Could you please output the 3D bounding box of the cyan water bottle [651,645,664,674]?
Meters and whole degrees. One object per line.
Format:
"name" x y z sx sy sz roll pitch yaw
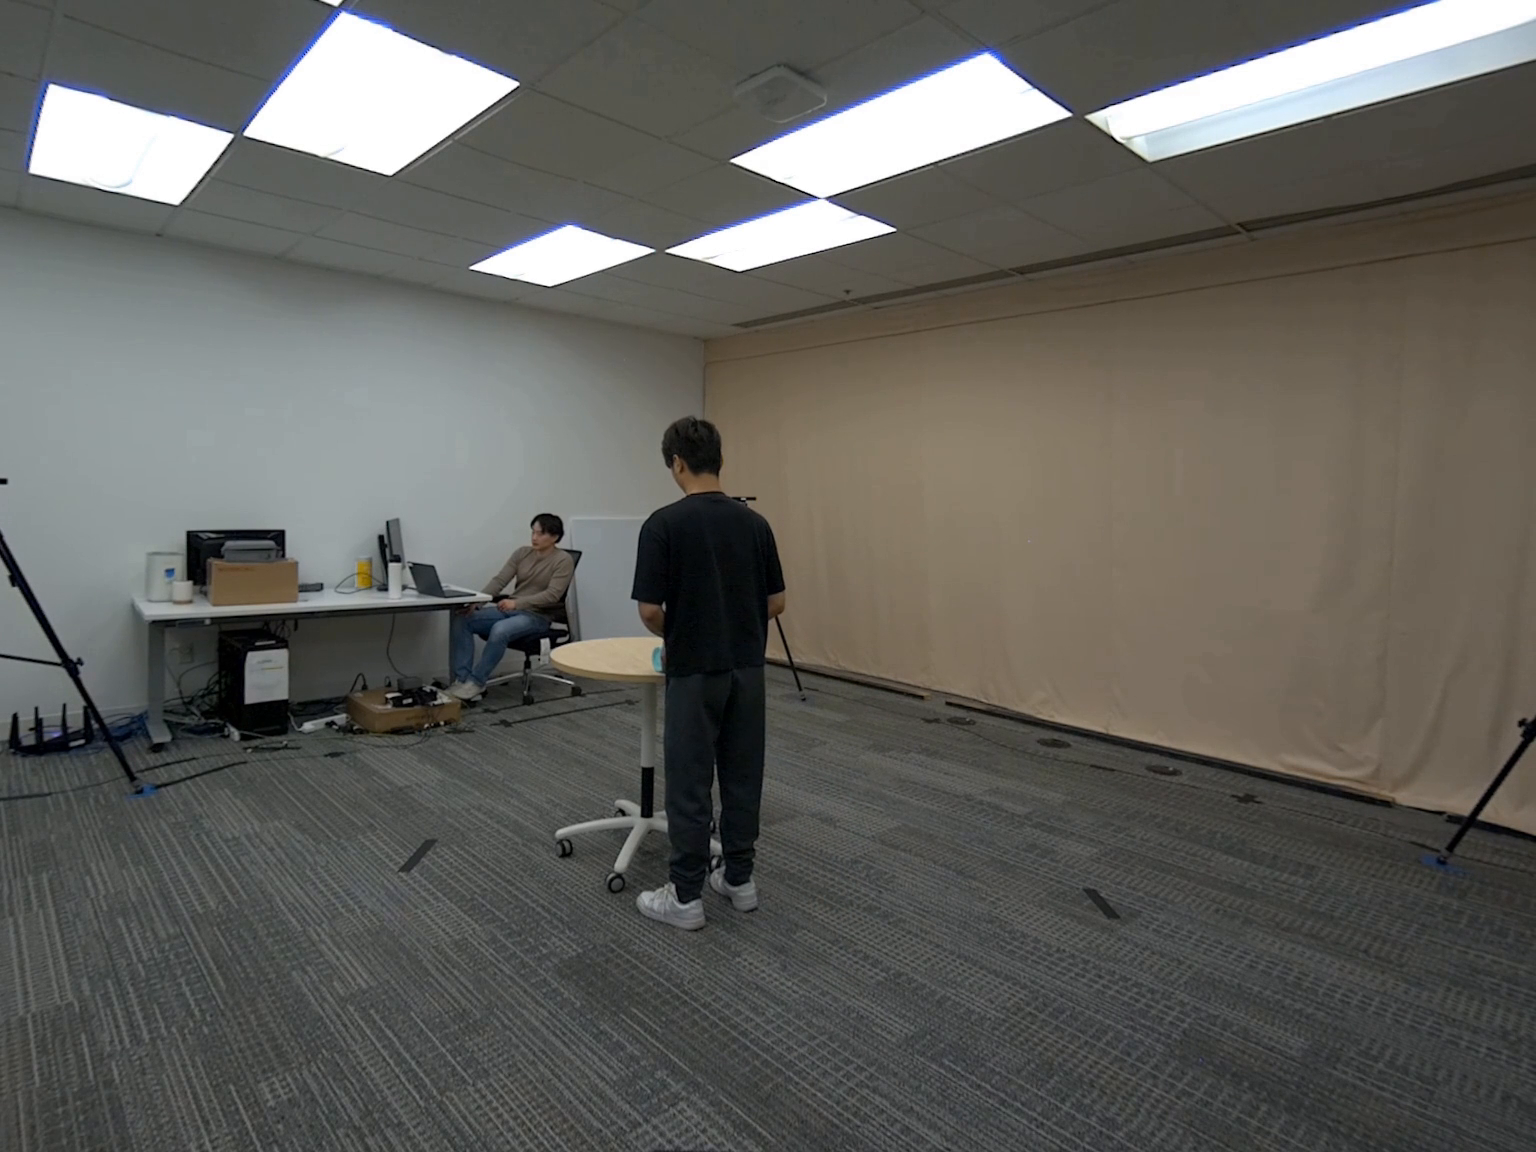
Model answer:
"cyan water bottle" -0.281 0.286 3.019 0.277 0.092 0.094 -2 5 -36
